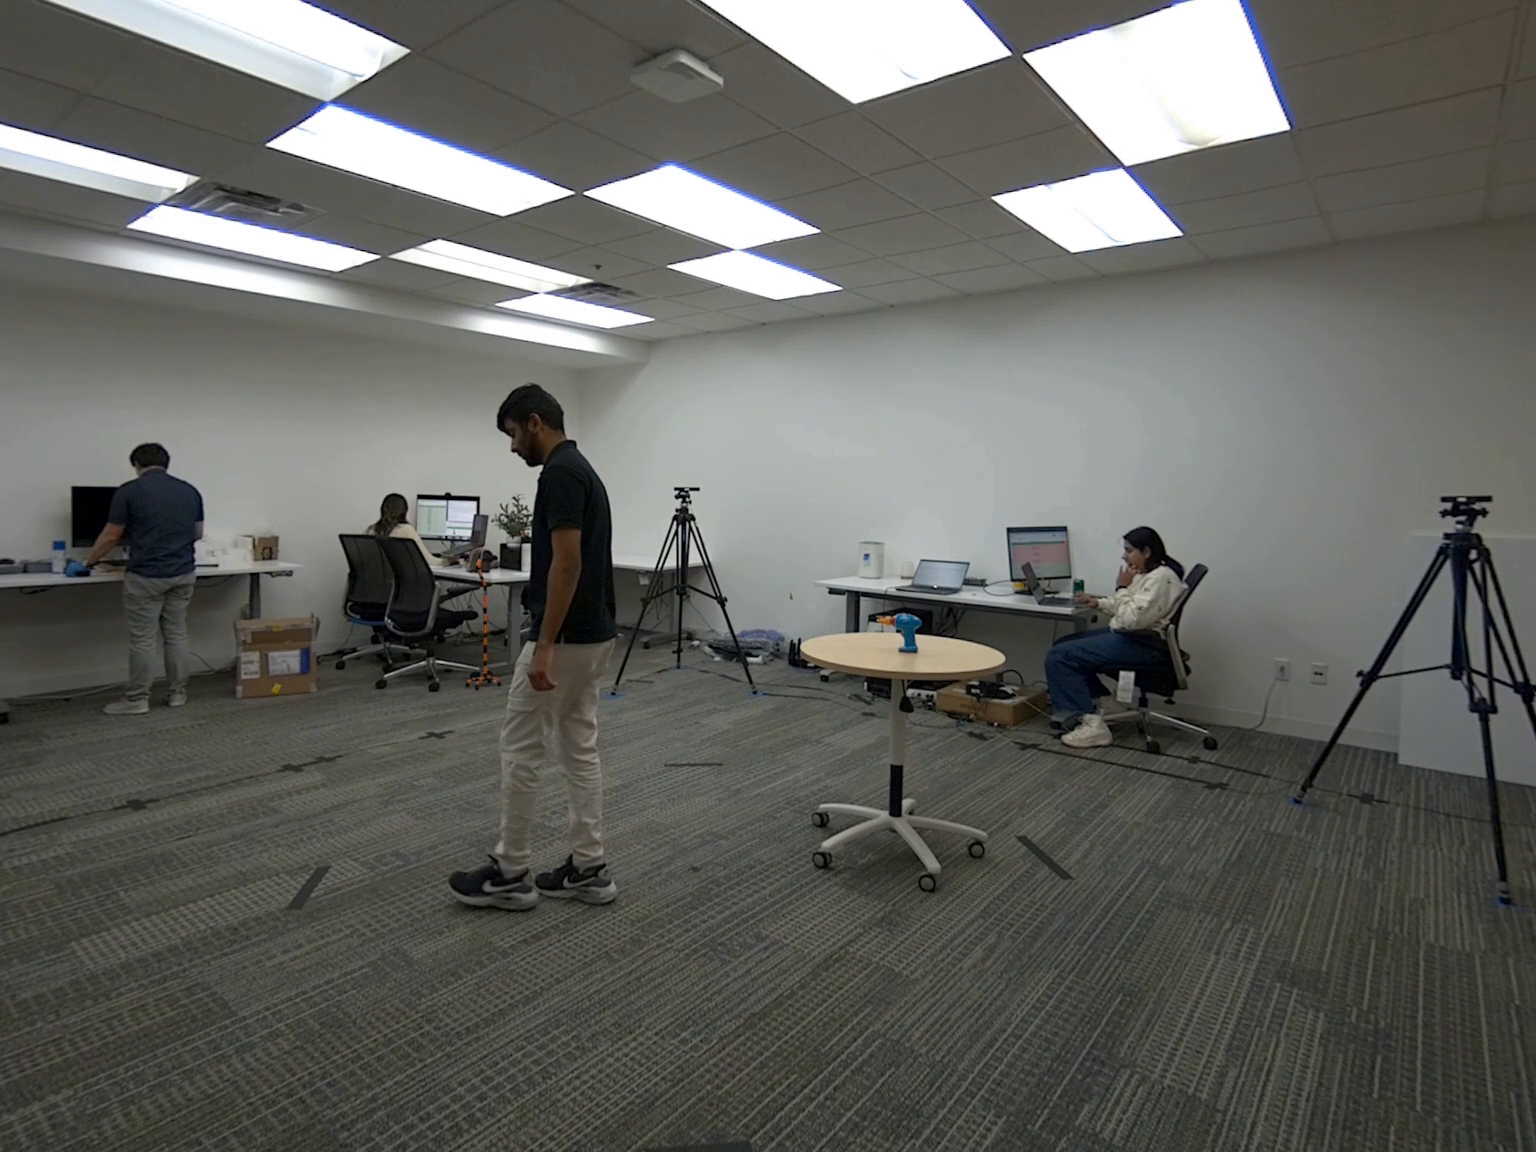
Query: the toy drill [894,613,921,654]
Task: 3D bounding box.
[{"bbox_3d":[0.491,0.212,3.245,0.172,0.145,0.060,1,3,12],"label":"toy drill"}]
